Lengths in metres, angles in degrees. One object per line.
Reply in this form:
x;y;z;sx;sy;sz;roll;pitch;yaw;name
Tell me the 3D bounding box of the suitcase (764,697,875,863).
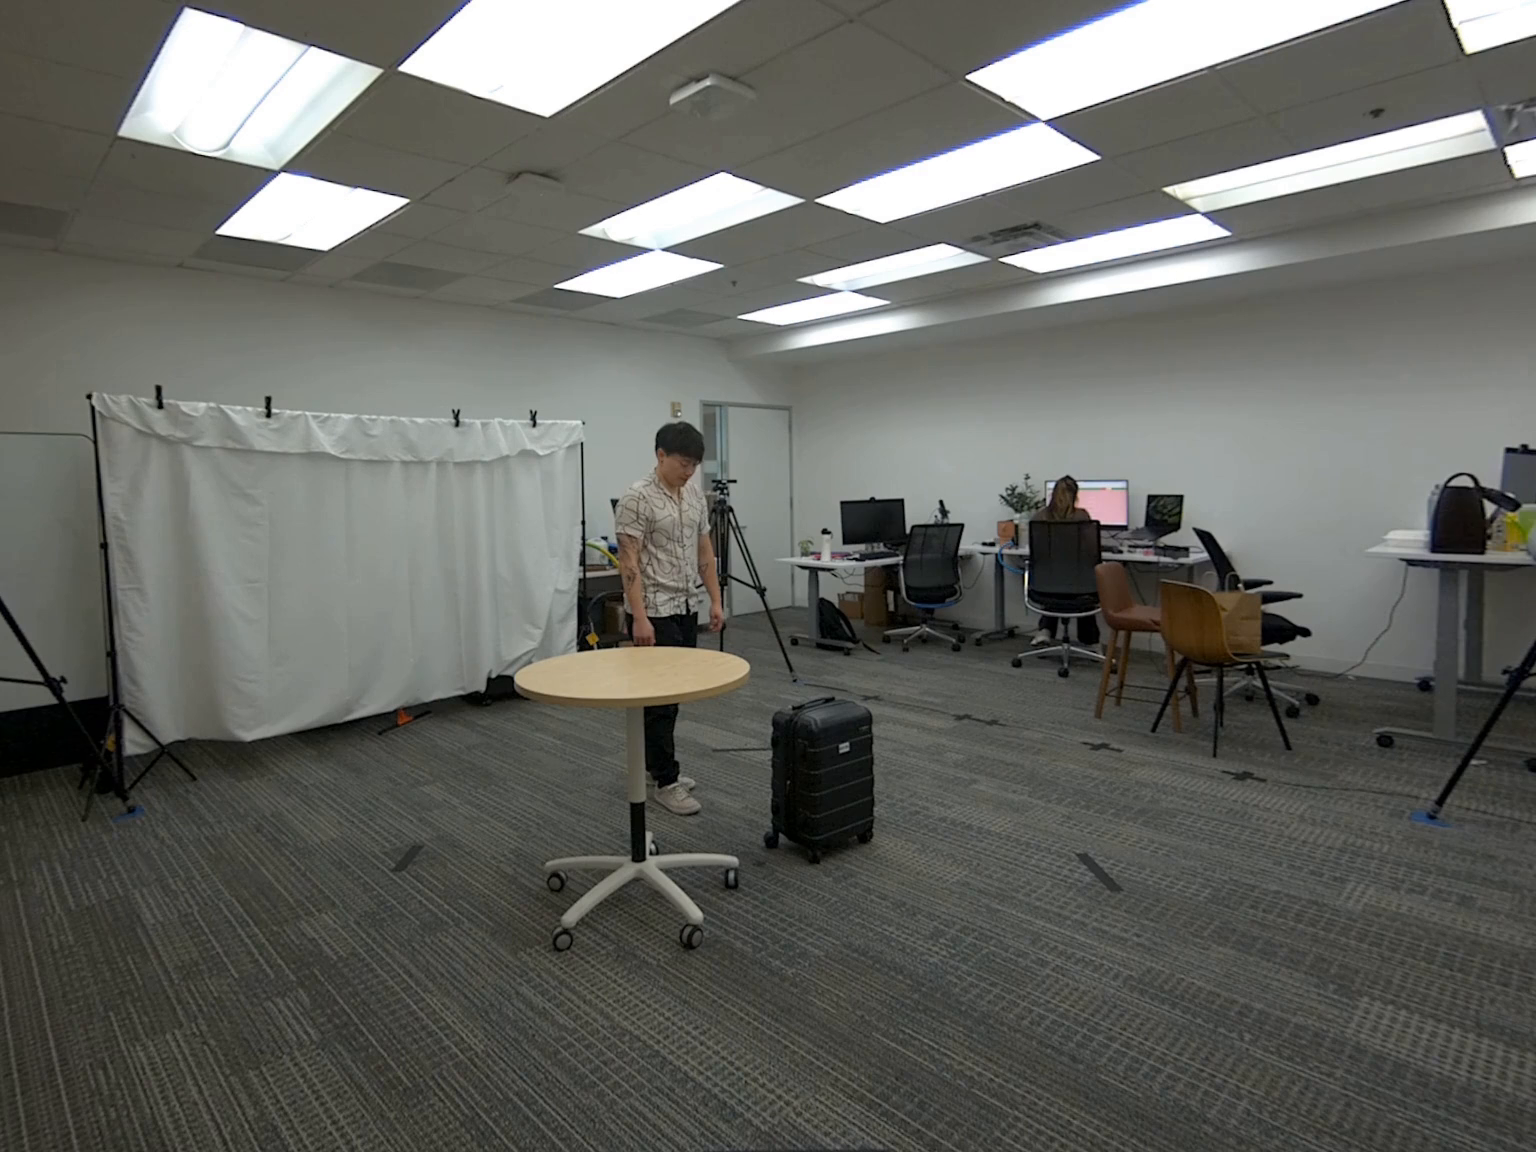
0.211;0.750;3.252;0.365;0.547;0.256;-3;6;-39;suitcase
